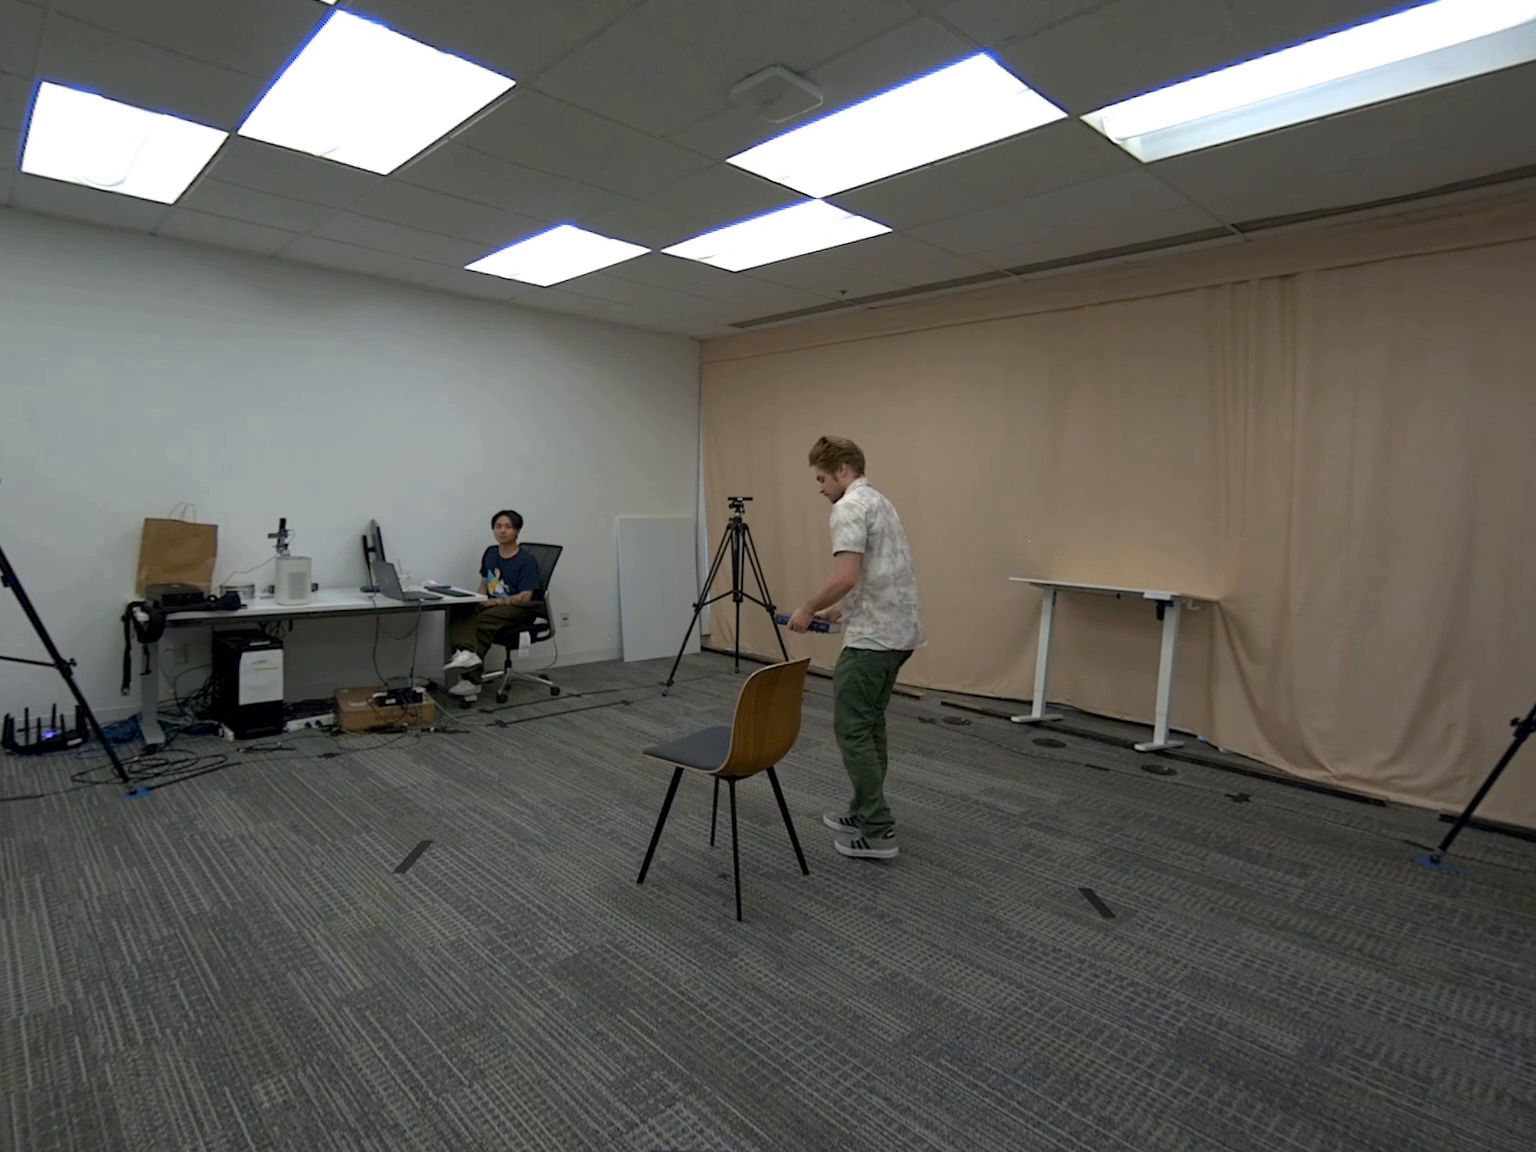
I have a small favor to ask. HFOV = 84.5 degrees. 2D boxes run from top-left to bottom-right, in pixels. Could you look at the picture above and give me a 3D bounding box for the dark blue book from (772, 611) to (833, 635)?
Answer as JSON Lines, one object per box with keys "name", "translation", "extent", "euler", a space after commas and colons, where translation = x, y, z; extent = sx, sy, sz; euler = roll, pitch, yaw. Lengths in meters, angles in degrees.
{"name": "dark blue book", "translation": [0.171, 0.206, 3.546], "extent": [0.250, 0.045, 0.160], "euler": [9, 3, 23]}
